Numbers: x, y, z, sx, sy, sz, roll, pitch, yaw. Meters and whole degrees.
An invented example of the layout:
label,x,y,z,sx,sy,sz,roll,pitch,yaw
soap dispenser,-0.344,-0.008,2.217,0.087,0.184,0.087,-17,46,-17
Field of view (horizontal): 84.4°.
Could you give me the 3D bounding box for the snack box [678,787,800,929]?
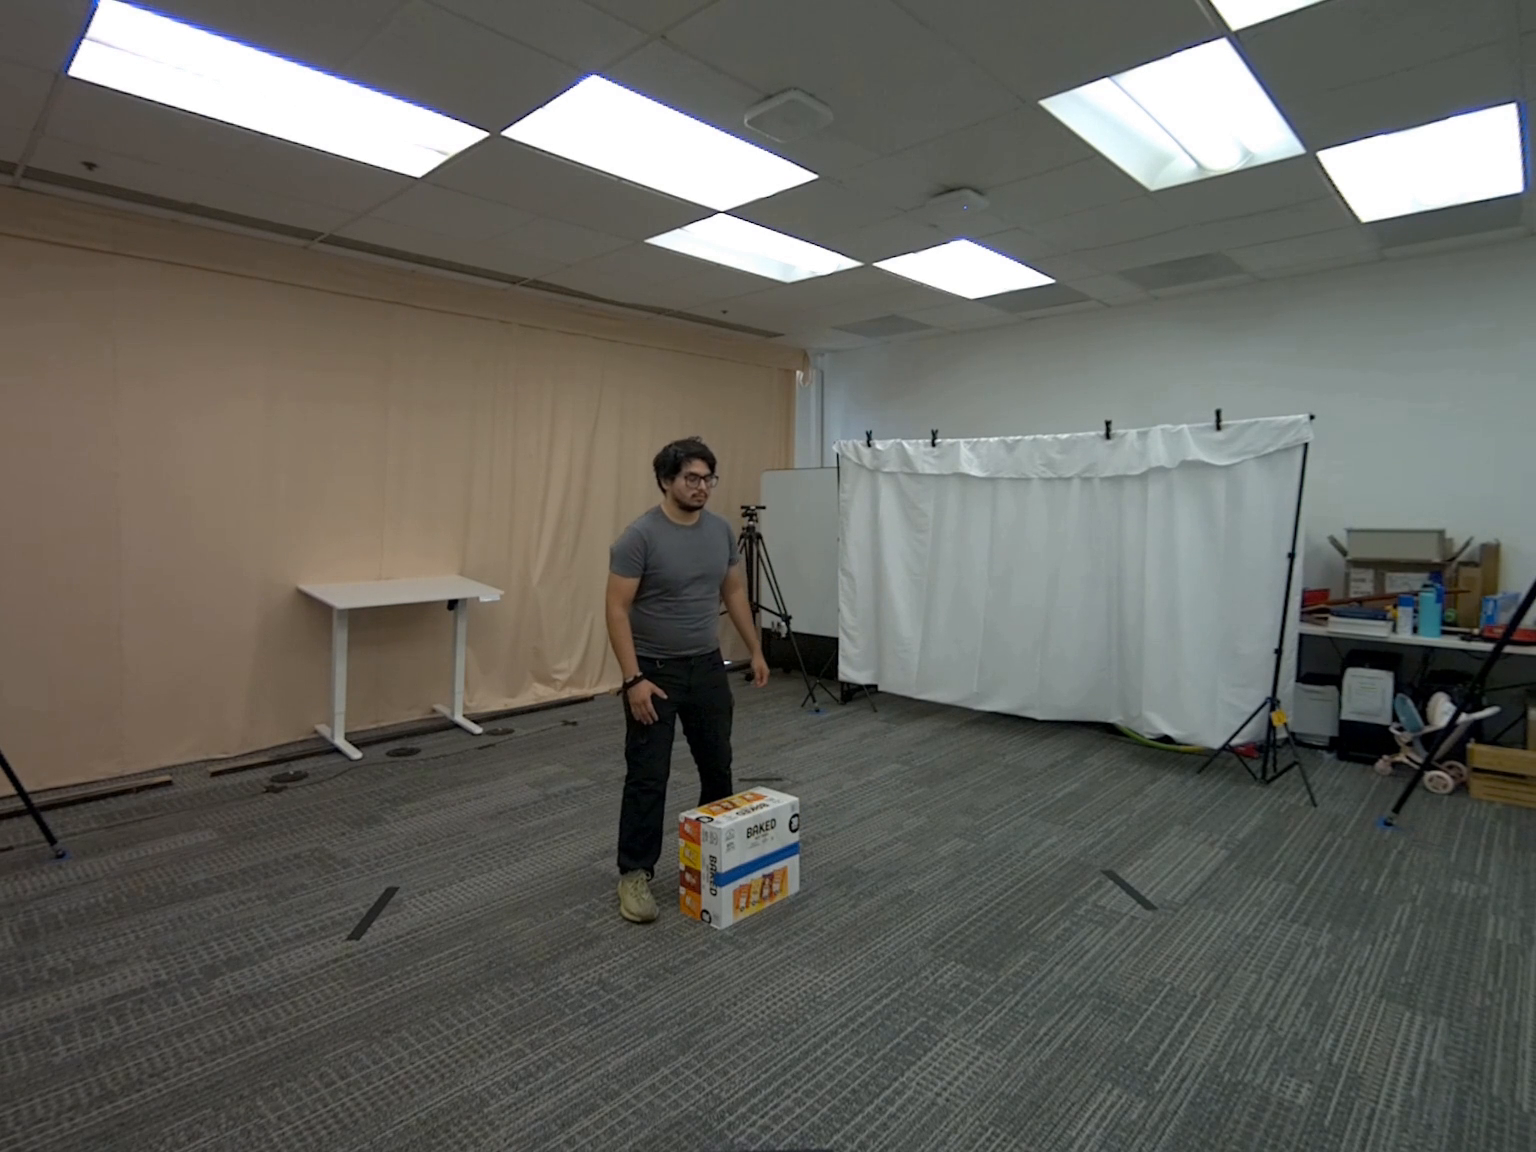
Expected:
label,x,y,z,sx,sy,sz,roll,pitch,yaw
snack box,-0.091,0.977,2.962,0.212,0.340,0.393,3,4,43
